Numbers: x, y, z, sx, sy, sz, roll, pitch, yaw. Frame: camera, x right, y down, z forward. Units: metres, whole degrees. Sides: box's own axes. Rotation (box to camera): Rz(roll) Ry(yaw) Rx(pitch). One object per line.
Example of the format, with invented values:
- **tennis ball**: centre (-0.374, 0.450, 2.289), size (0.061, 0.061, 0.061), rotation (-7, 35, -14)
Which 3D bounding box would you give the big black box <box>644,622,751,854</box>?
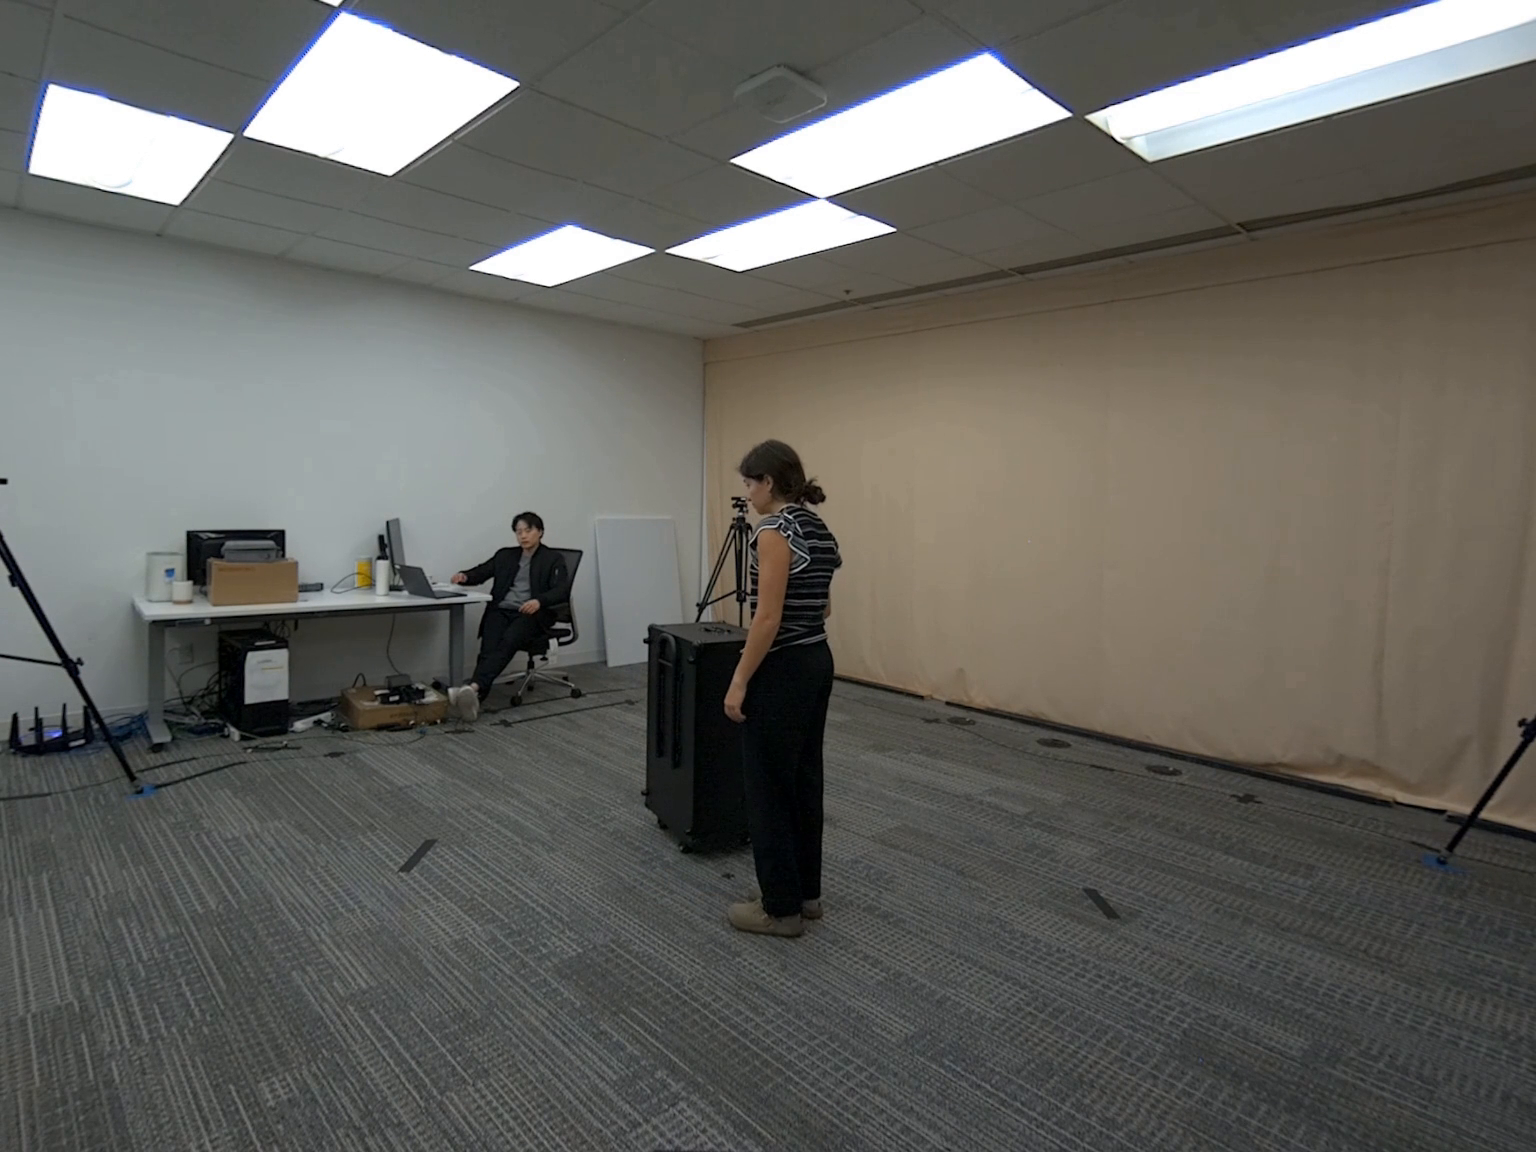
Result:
- **big black box**: centre (-0.258, 0.651, 3.436), size (0.389, 0.859, 0.532), rotation (-1, 4, -28)
